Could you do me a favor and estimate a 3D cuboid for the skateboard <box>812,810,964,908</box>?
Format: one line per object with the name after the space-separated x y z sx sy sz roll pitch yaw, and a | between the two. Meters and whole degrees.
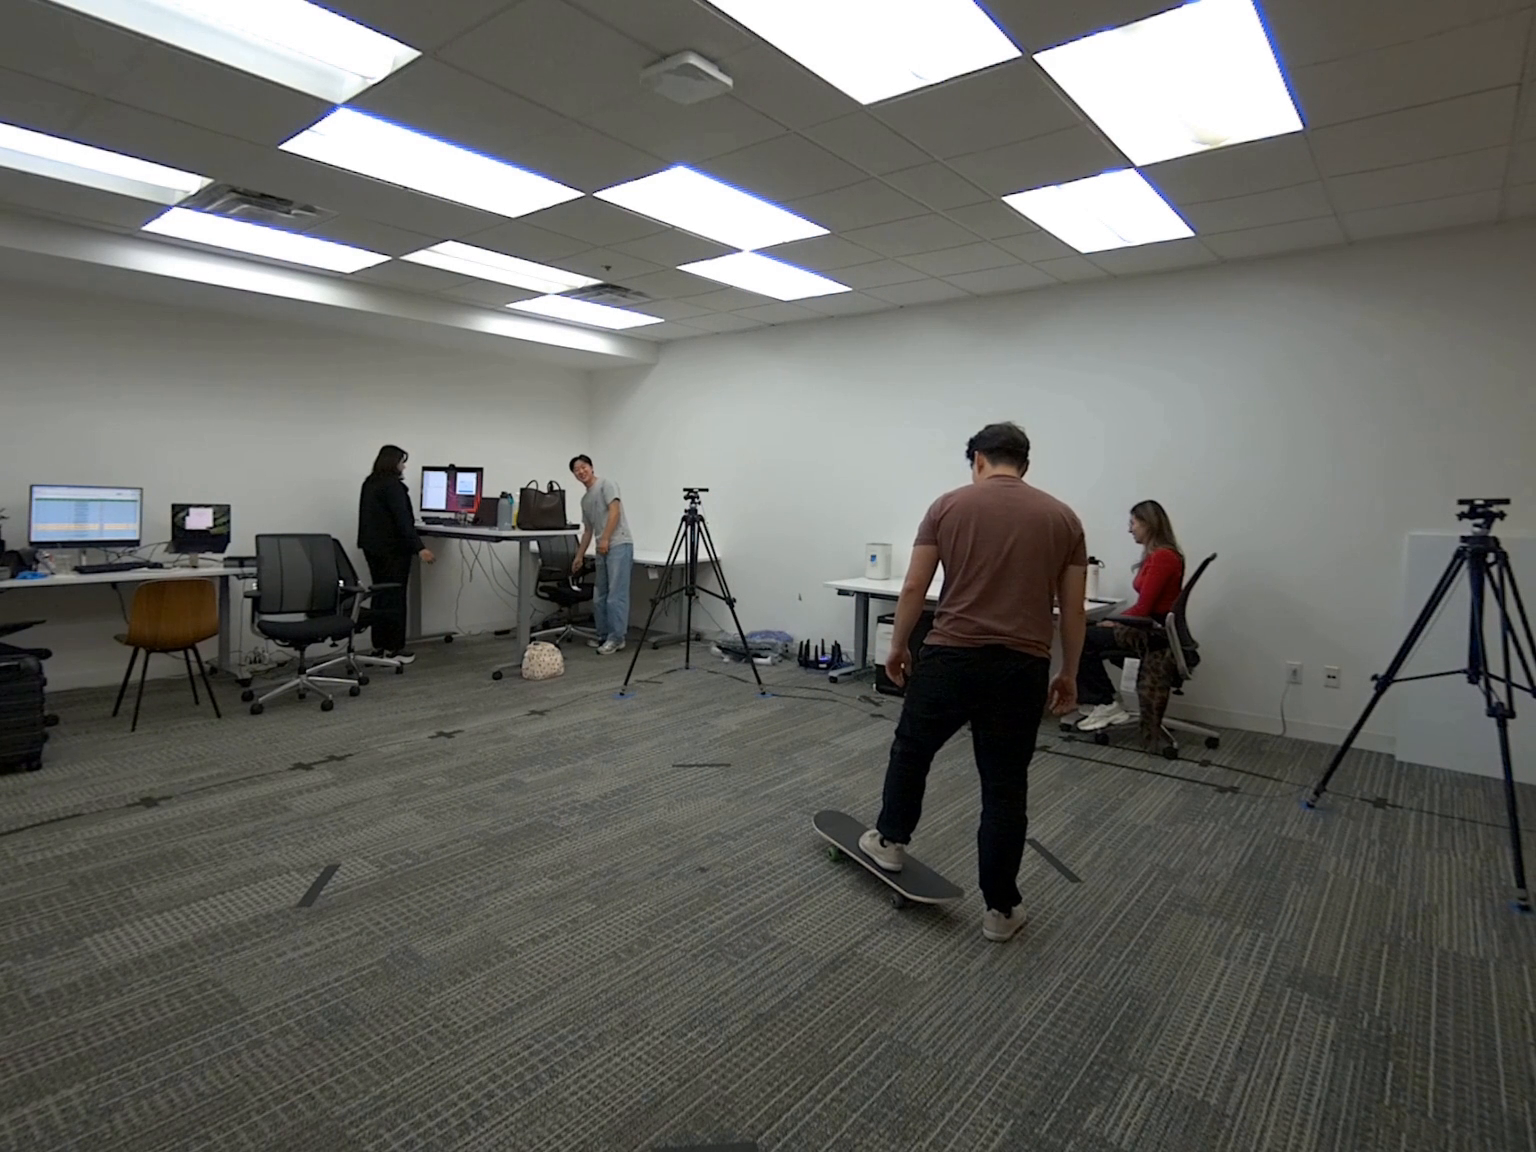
0.399 1.028 3.062 0.189 0.110 0.807 -2 6 -26 | skateboard
